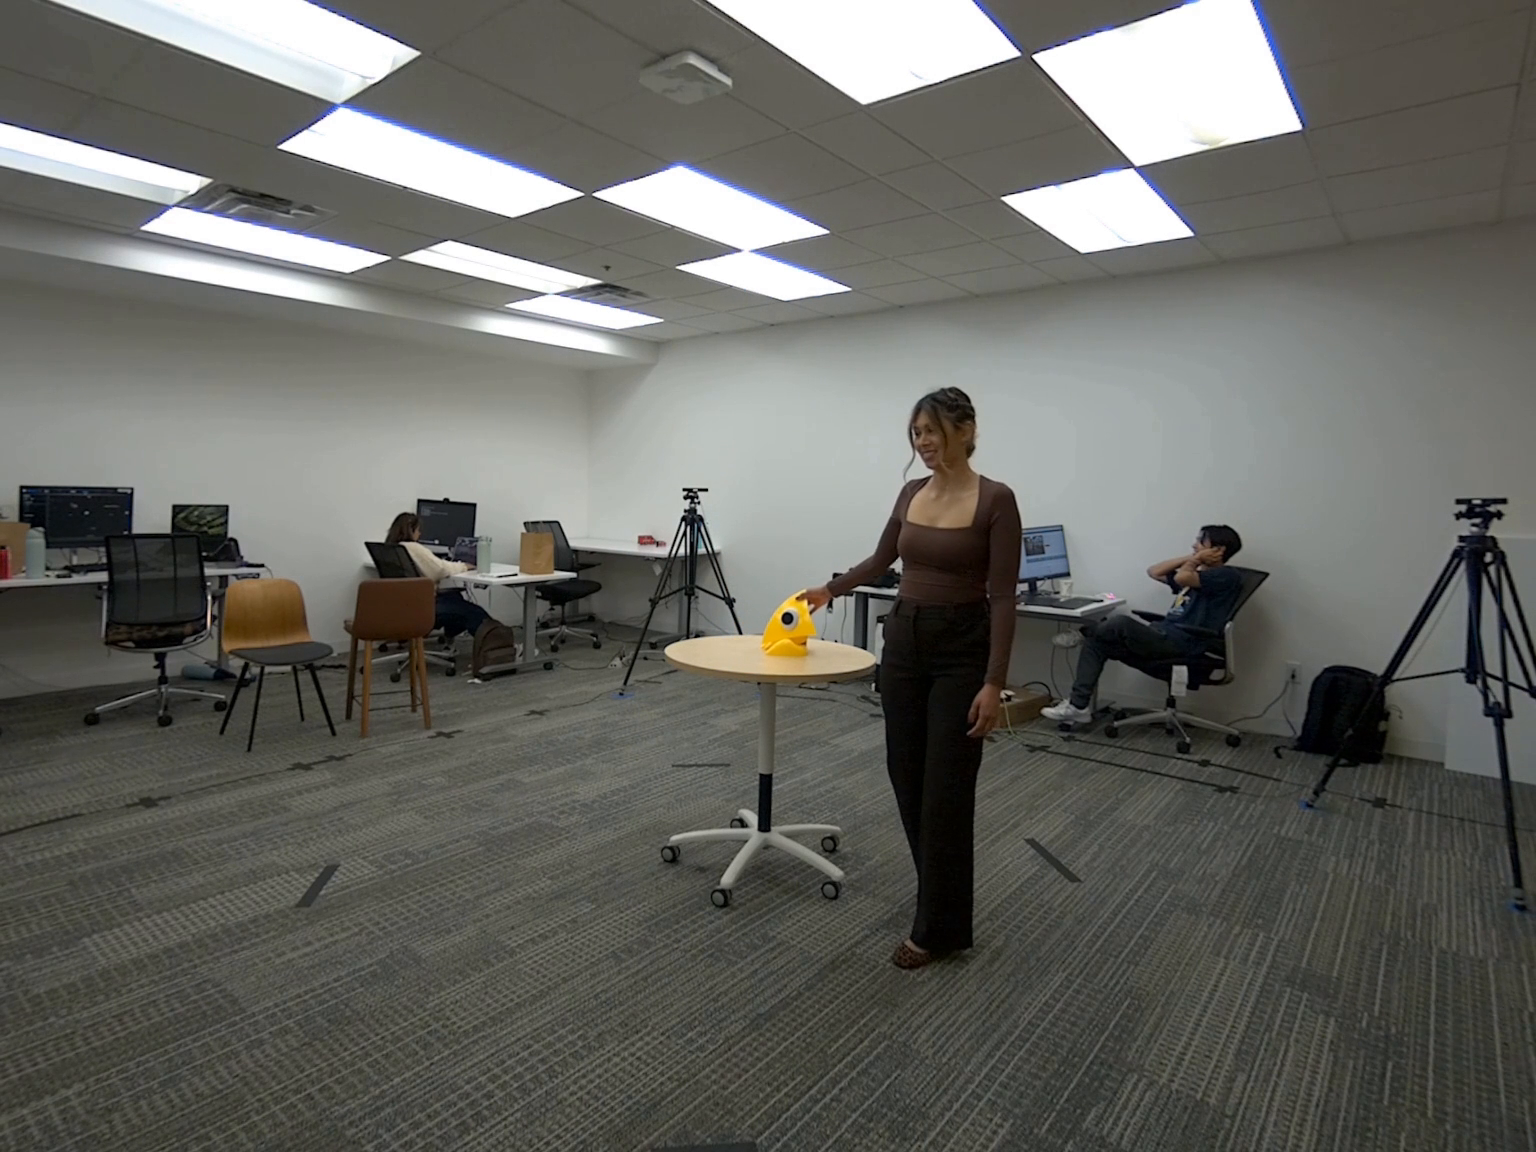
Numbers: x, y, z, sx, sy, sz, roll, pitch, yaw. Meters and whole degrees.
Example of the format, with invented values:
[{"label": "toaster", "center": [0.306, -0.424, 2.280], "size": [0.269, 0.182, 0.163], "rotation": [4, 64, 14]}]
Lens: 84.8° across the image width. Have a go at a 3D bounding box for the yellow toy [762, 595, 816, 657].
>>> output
[{"label": "yellow toy", "center": [0.063, 0.160, 3.140], "size": [0.192, 0.230, 0.207], "rotation": [2, 3, -7]}]
